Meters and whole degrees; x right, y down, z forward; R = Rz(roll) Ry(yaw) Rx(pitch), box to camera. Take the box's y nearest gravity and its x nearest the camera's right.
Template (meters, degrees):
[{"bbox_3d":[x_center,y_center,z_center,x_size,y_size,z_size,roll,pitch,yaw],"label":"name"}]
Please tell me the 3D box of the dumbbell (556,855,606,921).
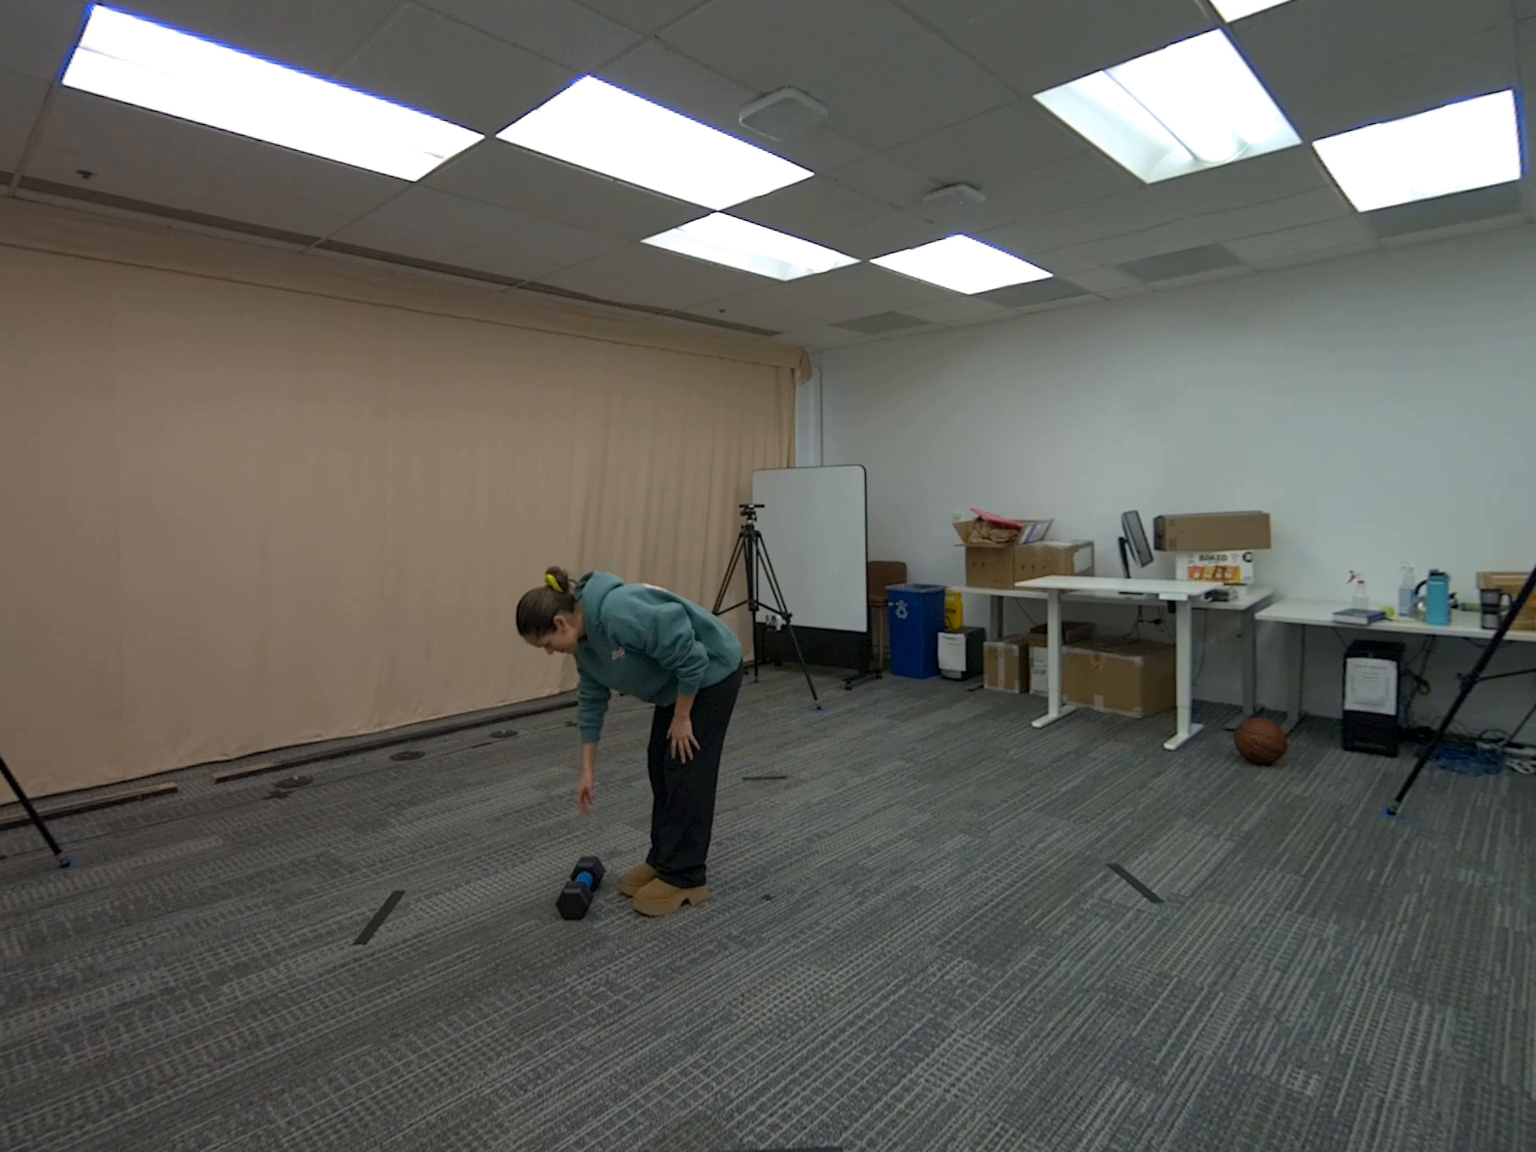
[{"bbox_3d":[-0.657,1.104,2.984,0.109,0.123,0.294,30,4,-2],"label":"dumbbell"}]
